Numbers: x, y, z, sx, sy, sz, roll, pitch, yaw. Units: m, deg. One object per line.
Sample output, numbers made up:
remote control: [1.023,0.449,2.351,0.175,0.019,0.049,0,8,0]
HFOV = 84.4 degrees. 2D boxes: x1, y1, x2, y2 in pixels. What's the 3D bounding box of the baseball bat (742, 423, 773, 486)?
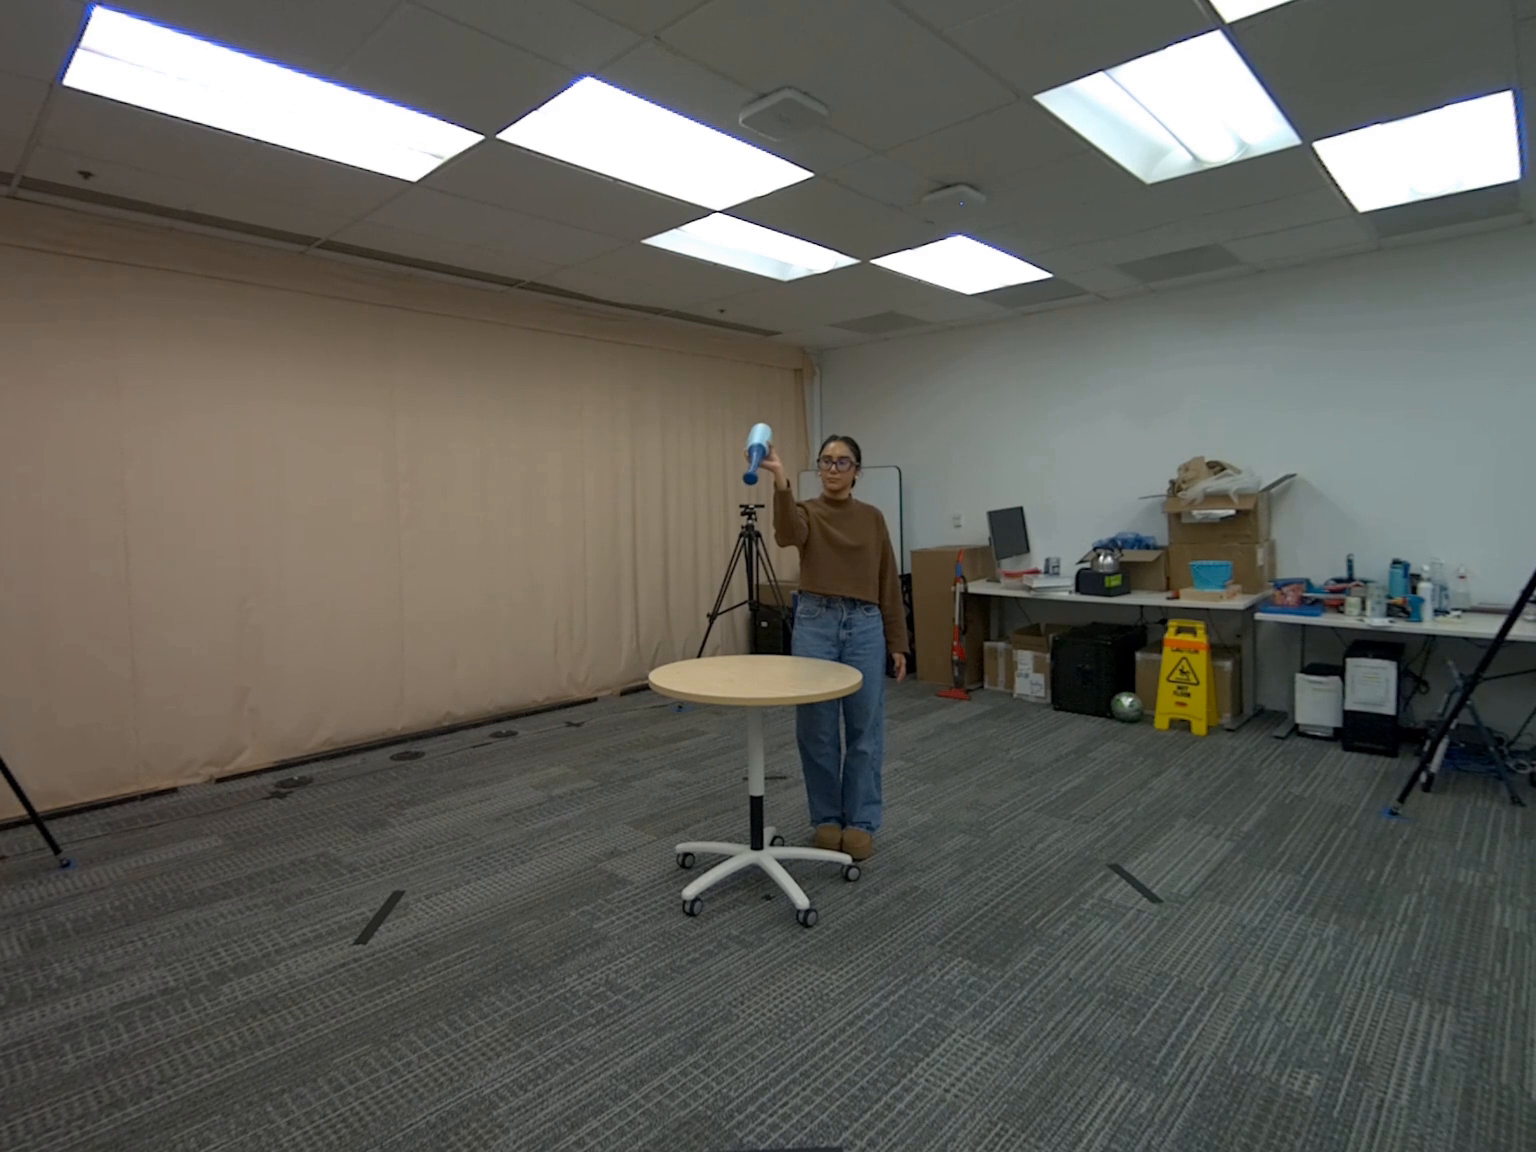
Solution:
baseball bat: [-0.028,-0.436,2.998,0.089,0.088,0.549,-1,25,1]
